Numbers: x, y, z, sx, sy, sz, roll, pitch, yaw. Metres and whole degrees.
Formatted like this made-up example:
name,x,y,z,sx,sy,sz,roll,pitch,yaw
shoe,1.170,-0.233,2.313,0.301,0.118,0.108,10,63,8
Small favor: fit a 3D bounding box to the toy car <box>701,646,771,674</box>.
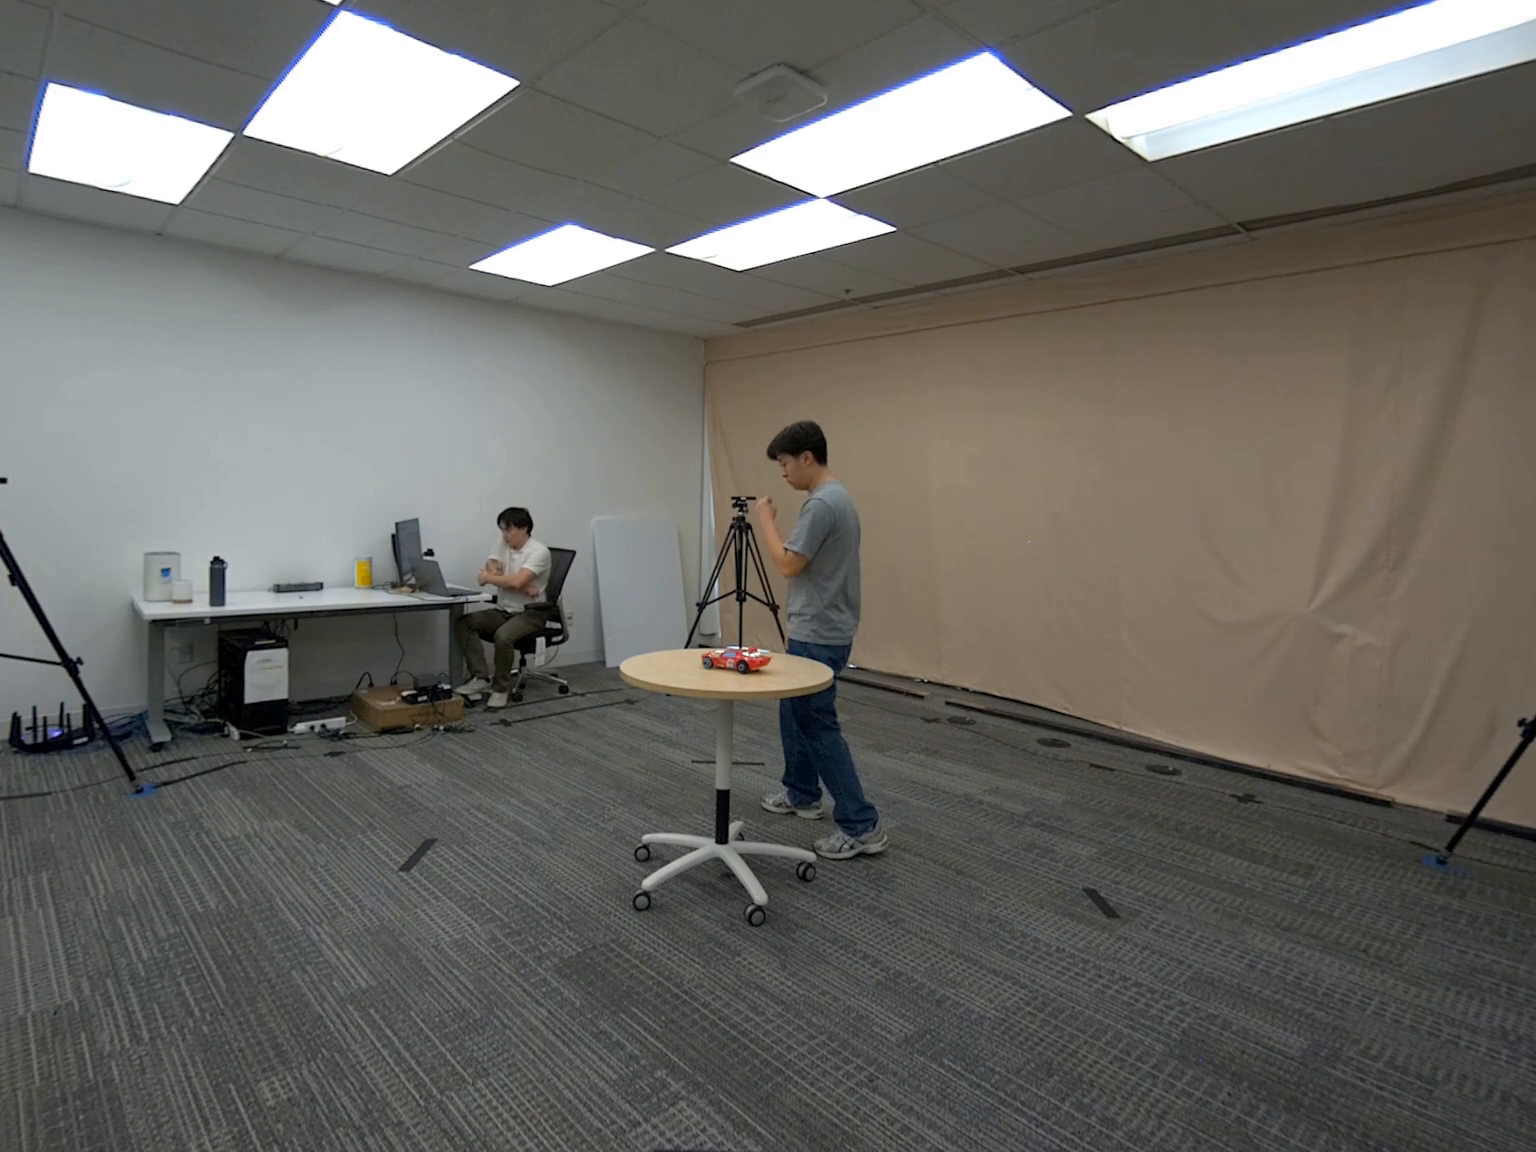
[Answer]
name,x,y,z,sx,sy,sz,roll,pitch,yaw
toy car,-0.116,0.302,2.986,0.259,0.083,0.128,-8,-2,30
